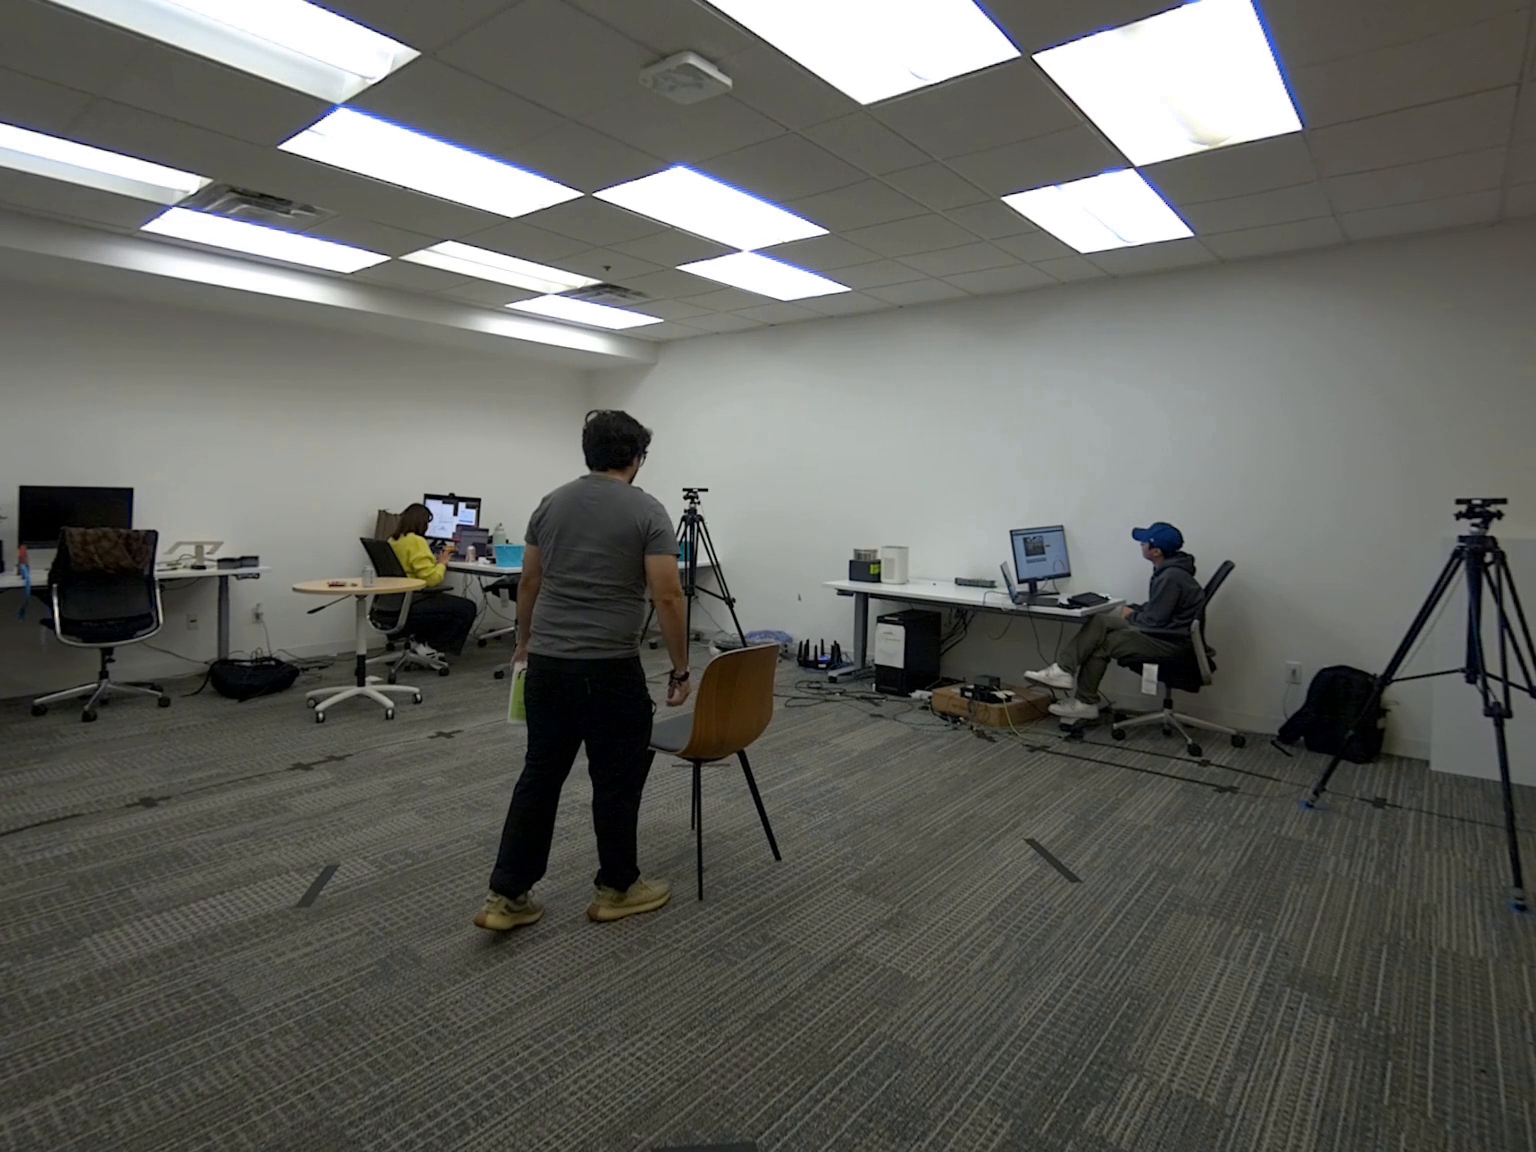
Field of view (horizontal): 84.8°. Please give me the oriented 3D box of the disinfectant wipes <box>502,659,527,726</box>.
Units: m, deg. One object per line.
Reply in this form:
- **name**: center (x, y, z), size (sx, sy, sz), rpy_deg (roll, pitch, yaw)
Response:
- **disinfectant wipes**: center (-0.860, 0.410, 2.998), size (0.118, 0.218, 0.117), rpy_deg (7, -3, -2)
